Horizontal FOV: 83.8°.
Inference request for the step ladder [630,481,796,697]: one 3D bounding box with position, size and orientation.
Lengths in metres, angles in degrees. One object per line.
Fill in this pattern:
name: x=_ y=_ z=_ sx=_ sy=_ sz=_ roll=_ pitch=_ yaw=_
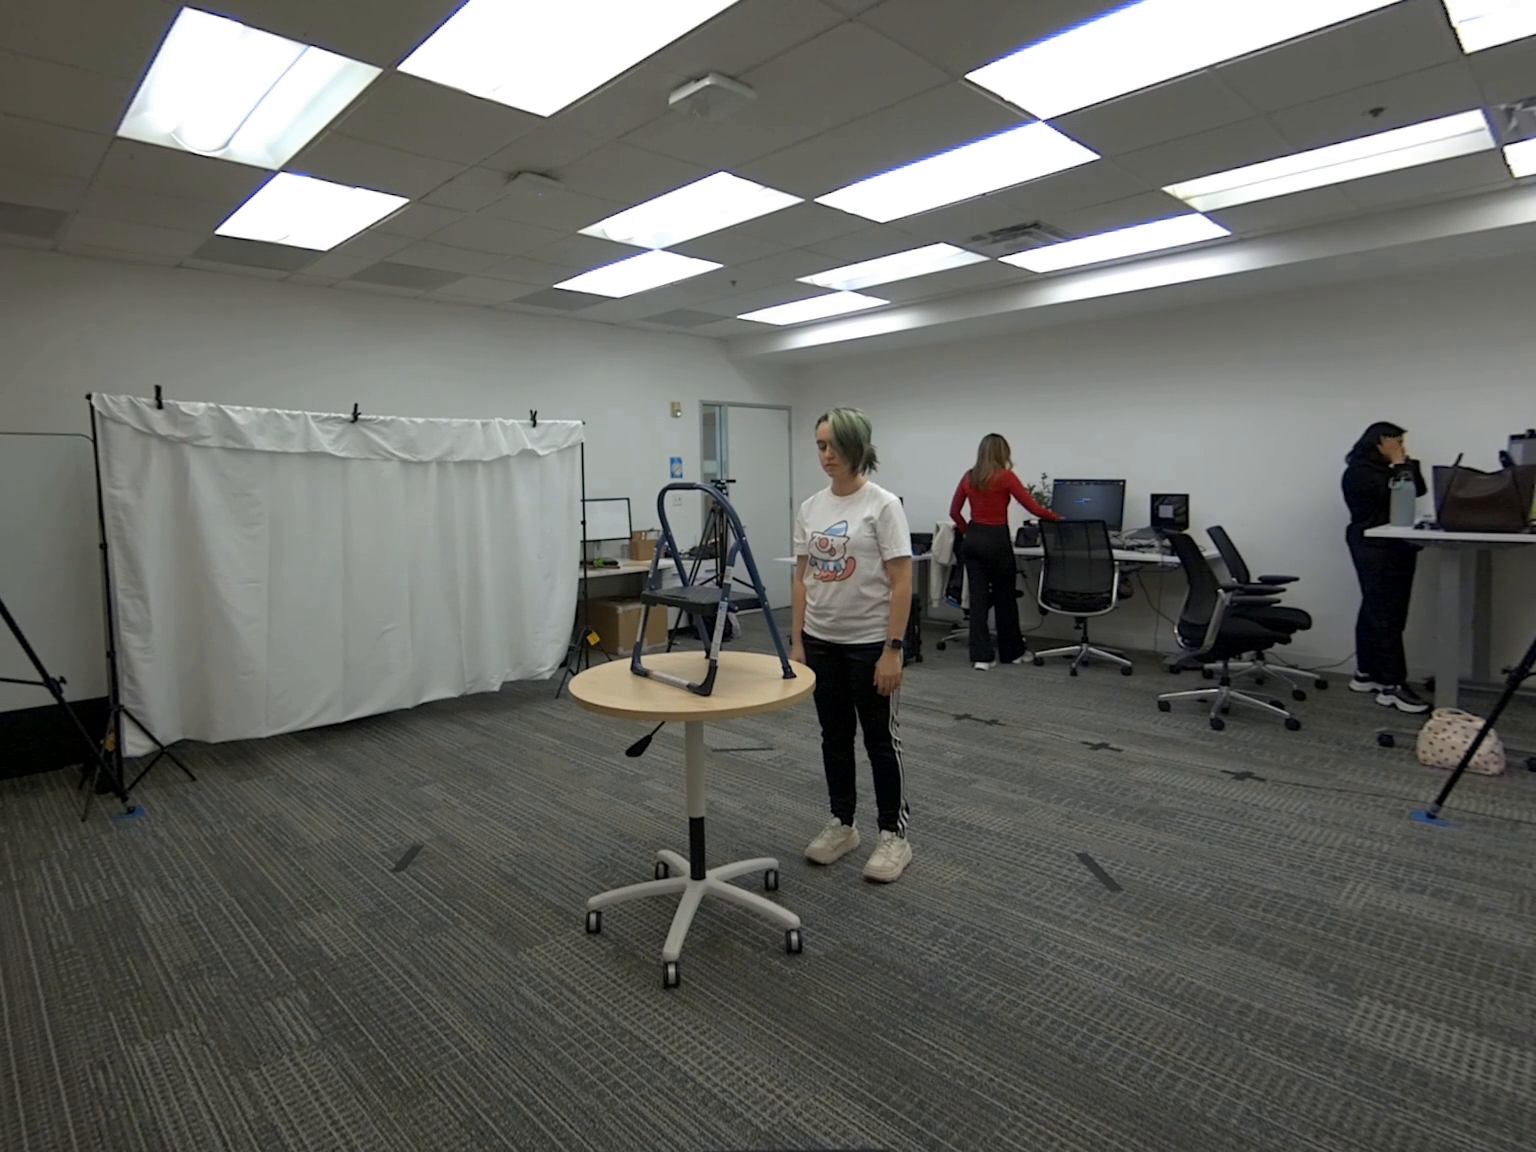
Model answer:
step ladder: x=-0.188 y=0.014 z=2.665 sx=0.340 sy=0.604 sz=0.444 roll=-5 pitch=6 yaw=-39
